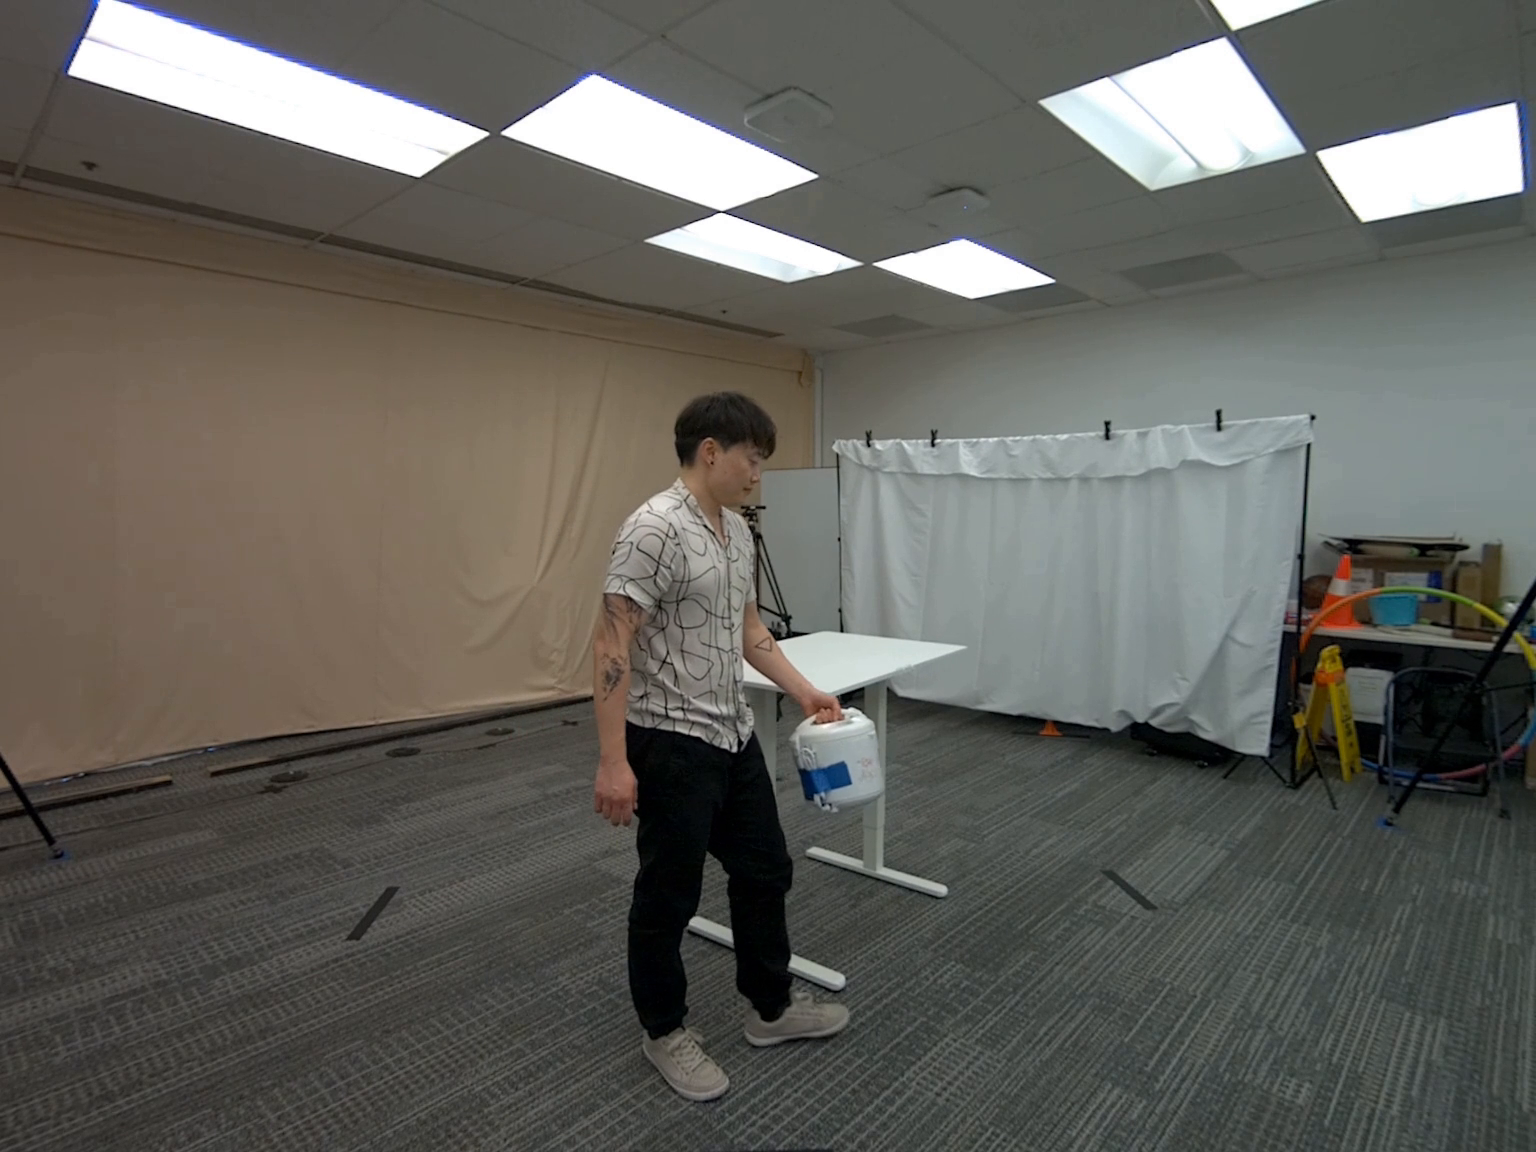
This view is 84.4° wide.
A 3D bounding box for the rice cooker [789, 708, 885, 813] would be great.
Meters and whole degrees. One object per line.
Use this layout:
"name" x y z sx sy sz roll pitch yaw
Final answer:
"rice cooker" 0.170 0.455 2.109 0.219 0.234 0.218 -9 -5 -8
